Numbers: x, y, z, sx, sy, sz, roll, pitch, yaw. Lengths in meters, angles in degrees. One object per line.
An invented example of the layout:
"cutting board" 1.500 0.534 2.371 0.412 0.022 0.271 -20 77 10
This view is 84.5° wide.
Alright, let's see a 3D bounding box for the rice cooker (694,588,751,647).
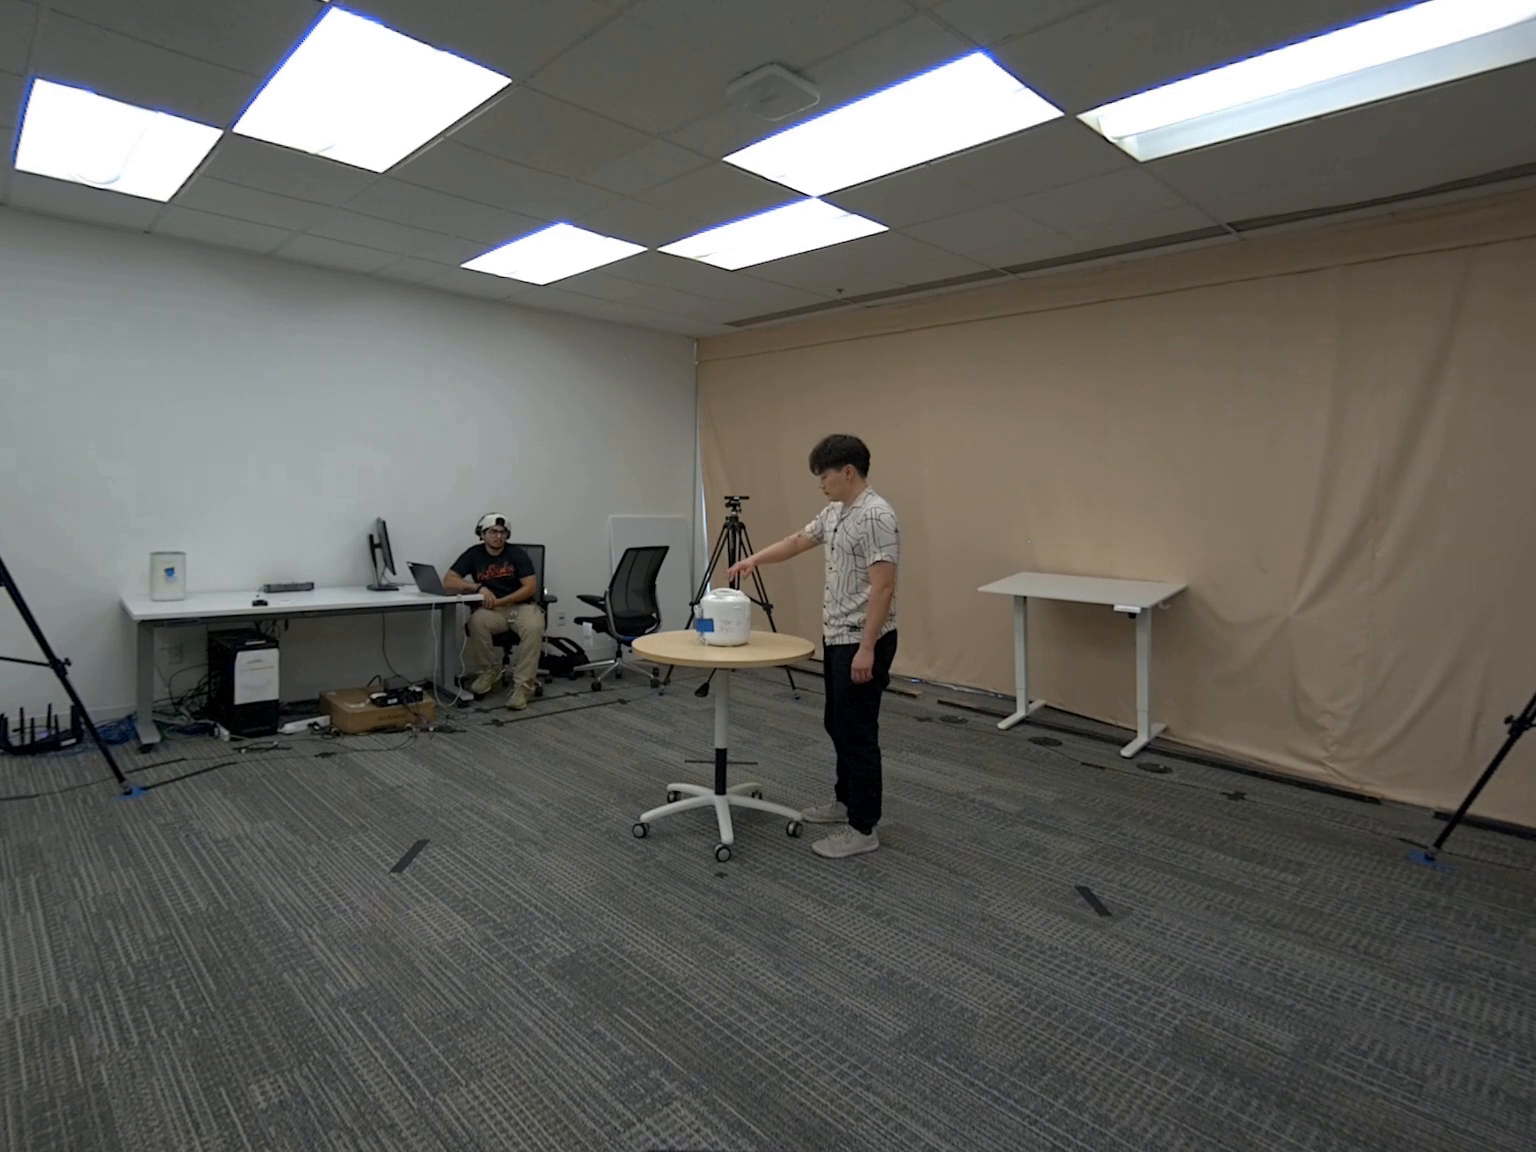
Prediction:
"rice cooker" -0.183 0.166 3.531 0.225 0.232 0.214 3 6 24
